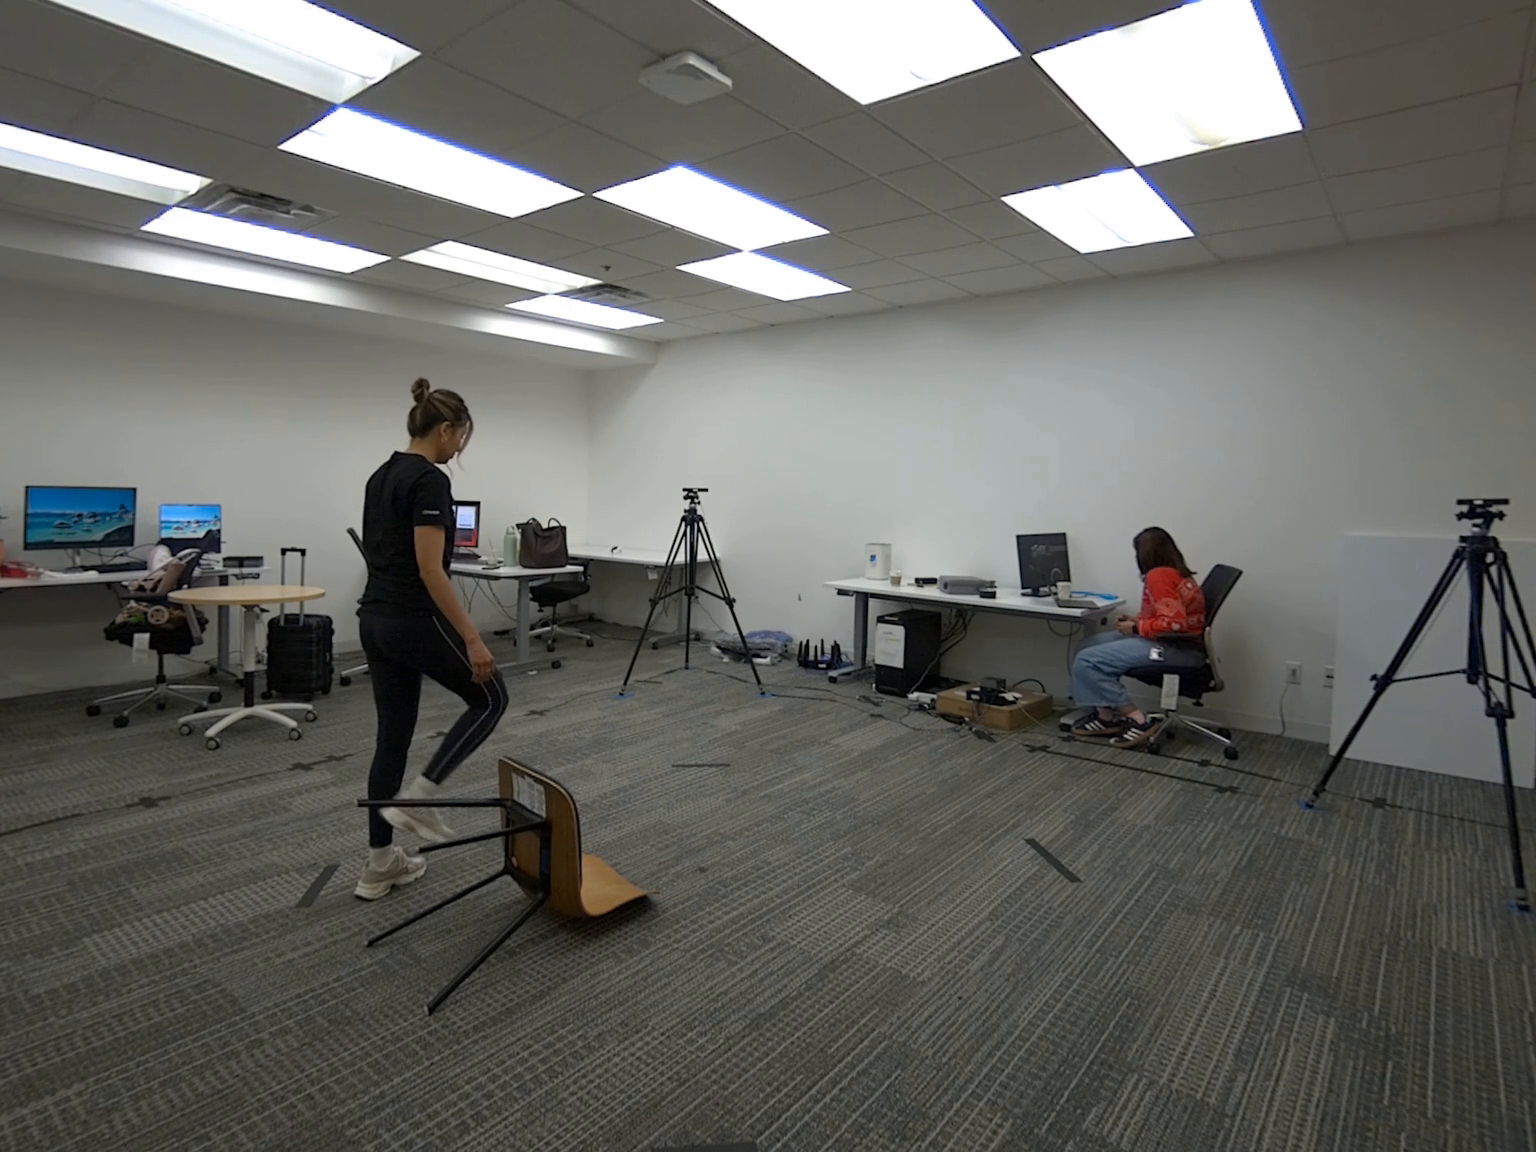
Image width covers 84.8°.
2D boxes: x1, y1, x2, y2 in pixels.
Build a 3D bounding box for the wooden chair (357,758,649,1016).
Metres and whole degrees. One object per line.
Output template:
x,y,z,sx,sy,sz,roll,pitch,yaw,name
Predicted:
-0.758,0.846,2.651,0.851,0.521,0.494,-3,6,-44,wooden chair
